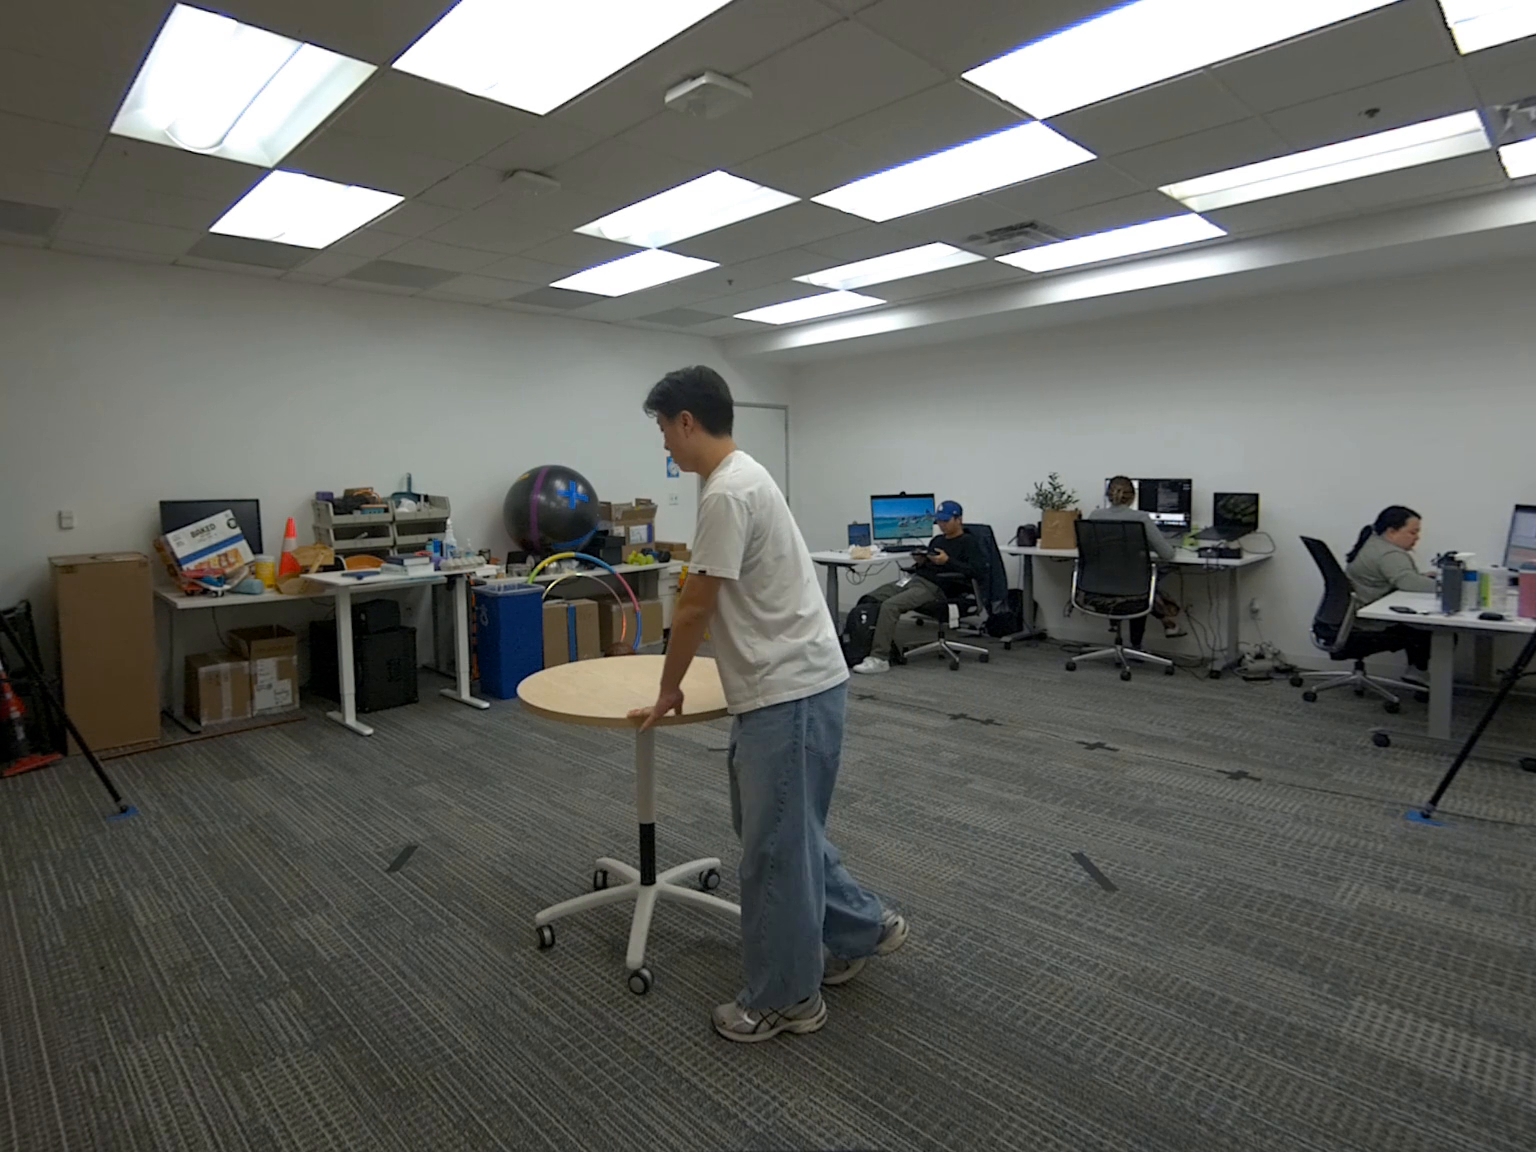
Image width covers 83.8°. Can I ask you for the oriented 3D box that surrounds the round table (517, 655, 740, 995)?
[{"bbox_3d":[-0.367,0.715,2.664,0.763,0.790,0.768,-1,5,-2],"label":"round table"}]
